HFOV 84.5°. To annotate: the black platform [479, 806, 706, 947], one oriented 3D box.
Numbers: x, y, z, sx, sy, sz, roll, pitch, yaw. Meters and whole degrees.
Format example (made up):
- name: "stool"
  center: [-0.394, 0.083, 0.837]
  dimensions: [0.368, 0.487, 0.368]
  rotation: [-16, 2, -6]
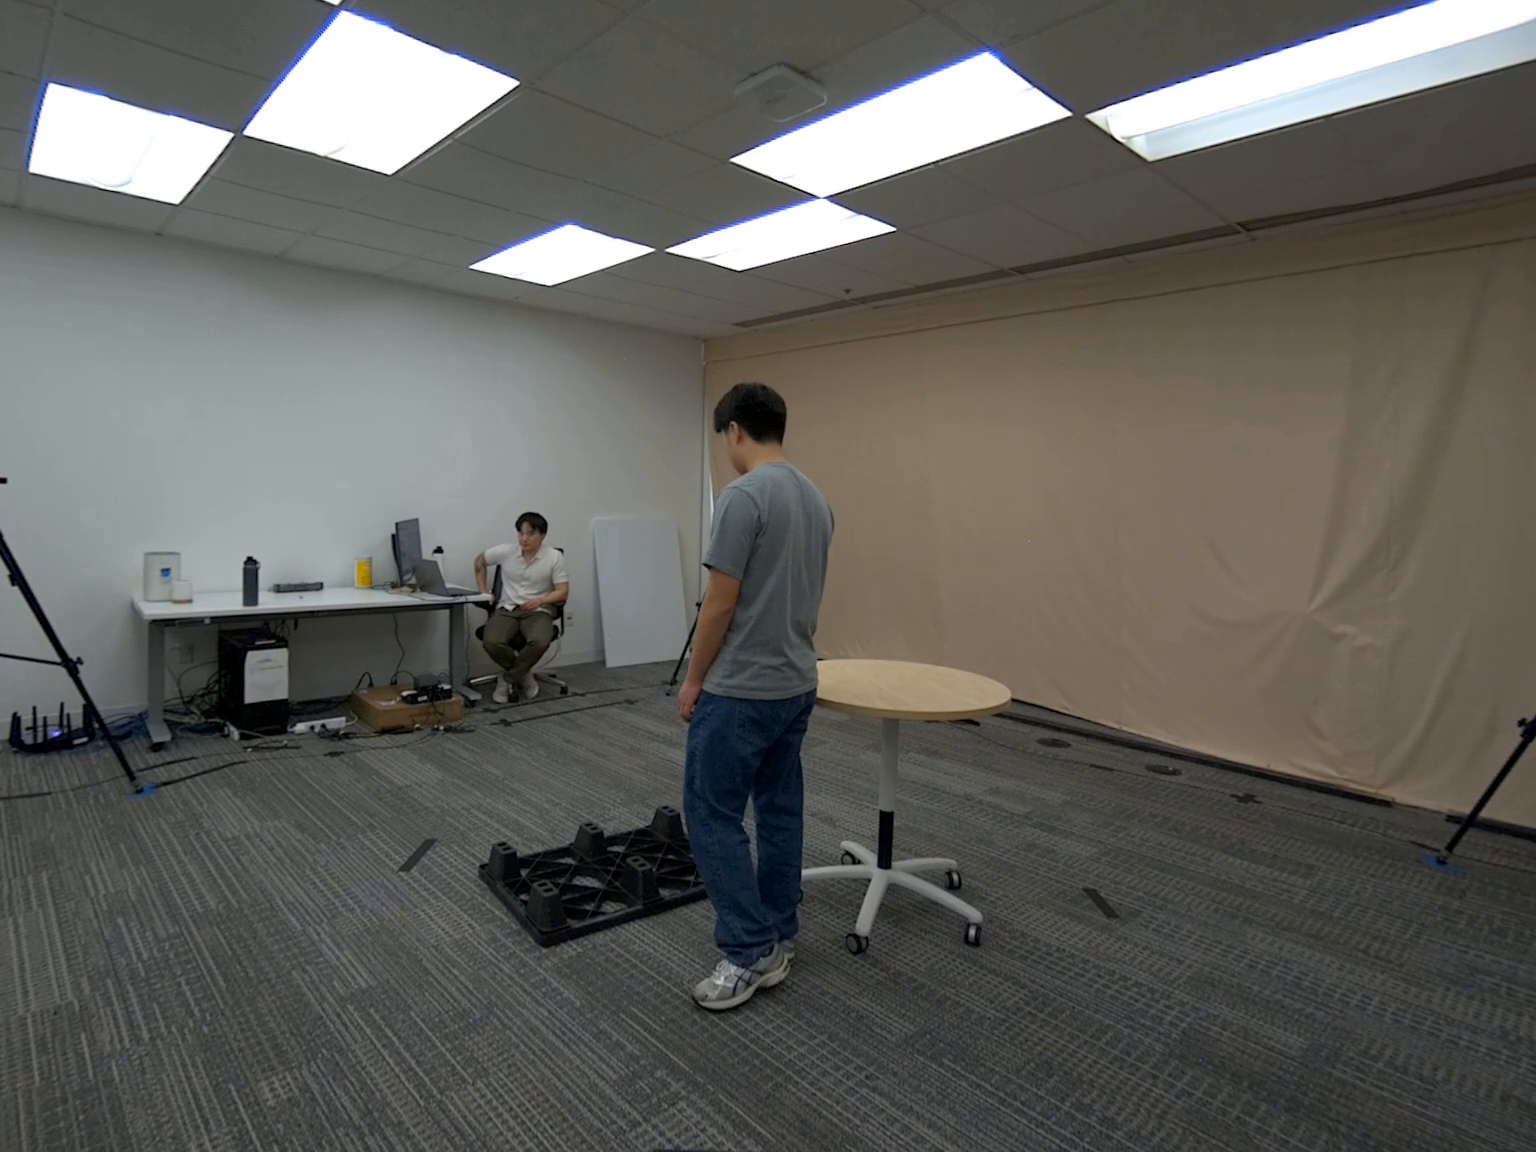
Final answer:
- name: "black platform"
  center: [-0.561, 1.037, 3.034]
  dimensions: [0.788, 0.143, 0.620]
  rotation: [-3, 6, -37]
